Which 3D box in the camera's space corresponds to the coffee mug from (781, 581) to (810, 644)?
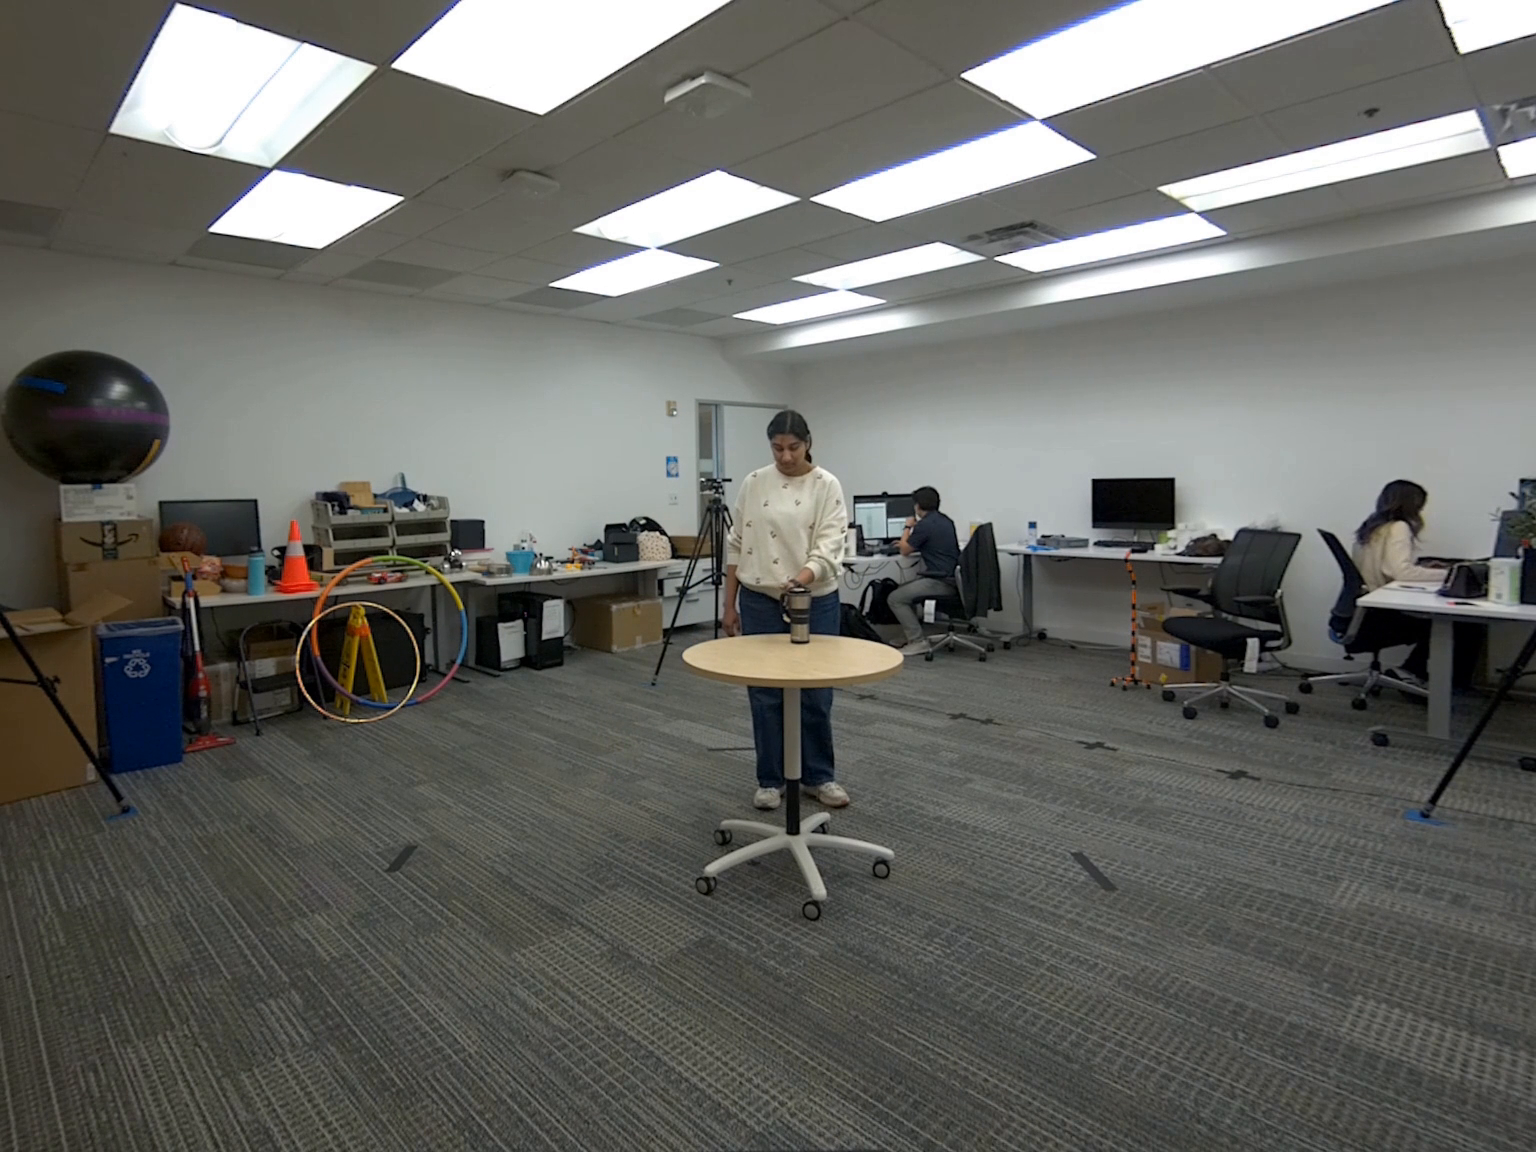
[{"bbox_3d":[0.108,0.152,3.208,0.086,0.202,0.125,-5,8,-33],"label":"coffee mug"}]
